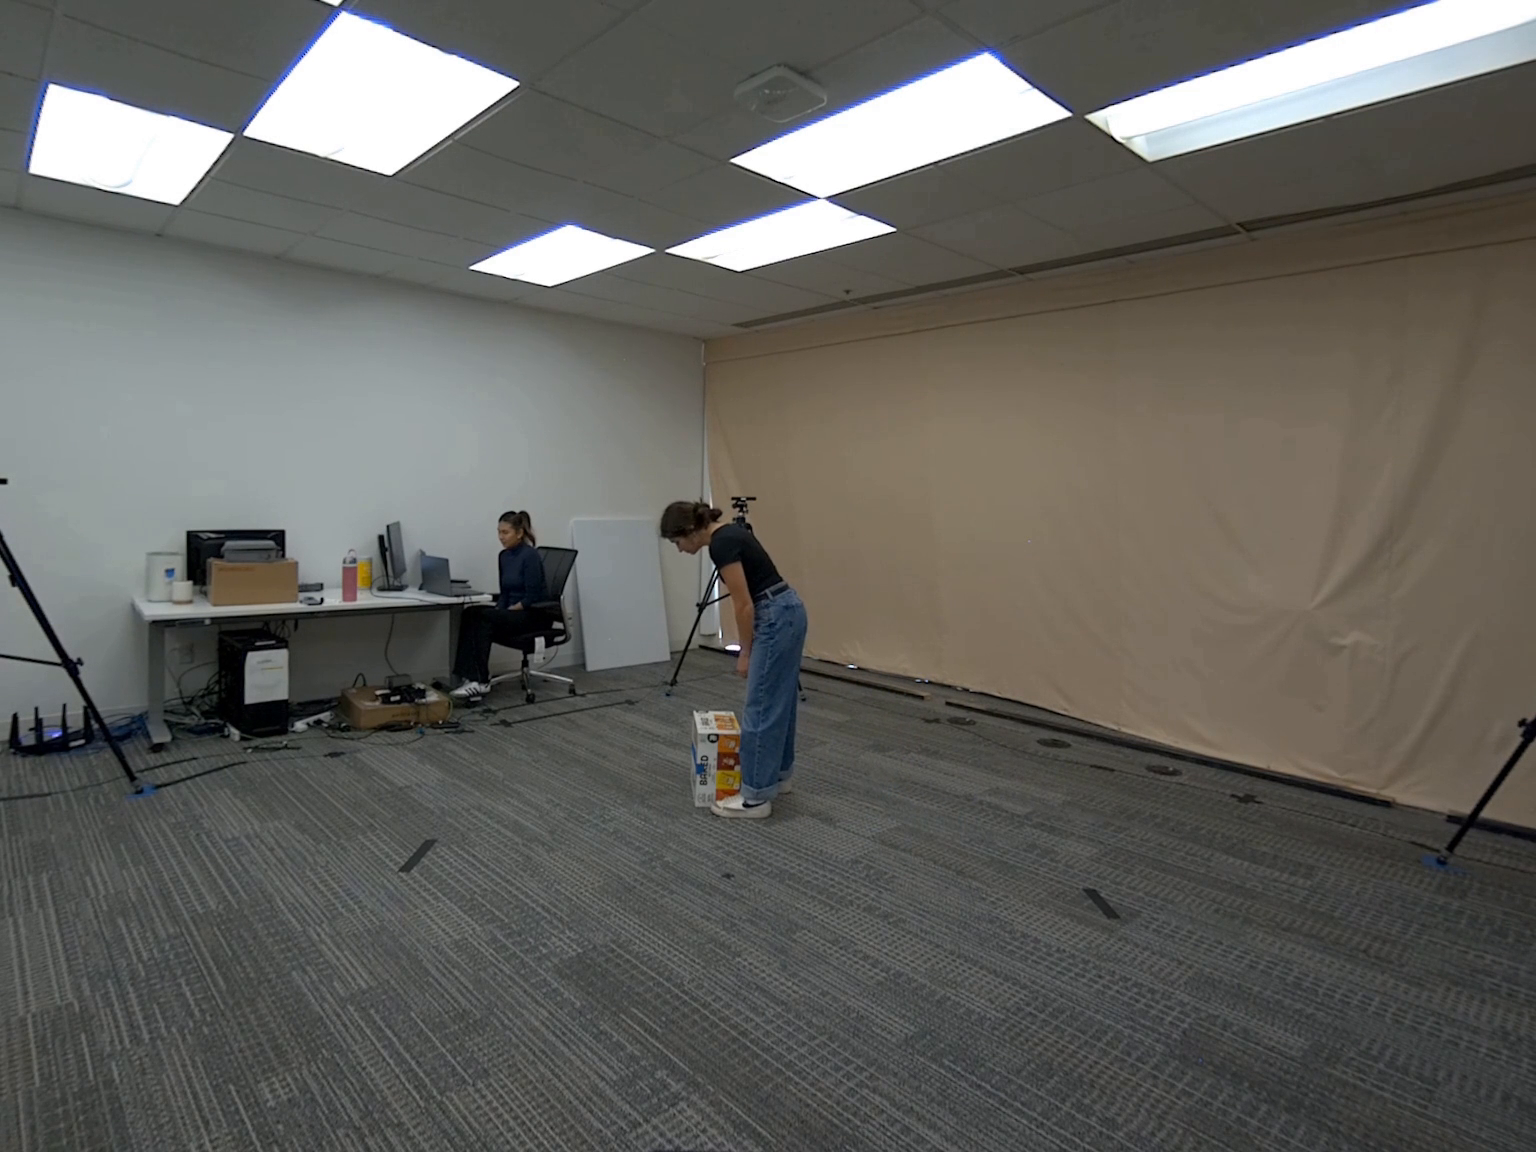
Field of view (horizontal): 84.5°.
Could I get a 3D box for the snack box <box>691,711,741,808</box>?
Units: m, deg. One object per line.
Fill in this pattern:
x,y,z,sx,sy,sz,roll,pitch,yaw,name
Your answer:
-0.254,0.856,3.982,0.204,0.339,0.409,3,4,-9,snack box
